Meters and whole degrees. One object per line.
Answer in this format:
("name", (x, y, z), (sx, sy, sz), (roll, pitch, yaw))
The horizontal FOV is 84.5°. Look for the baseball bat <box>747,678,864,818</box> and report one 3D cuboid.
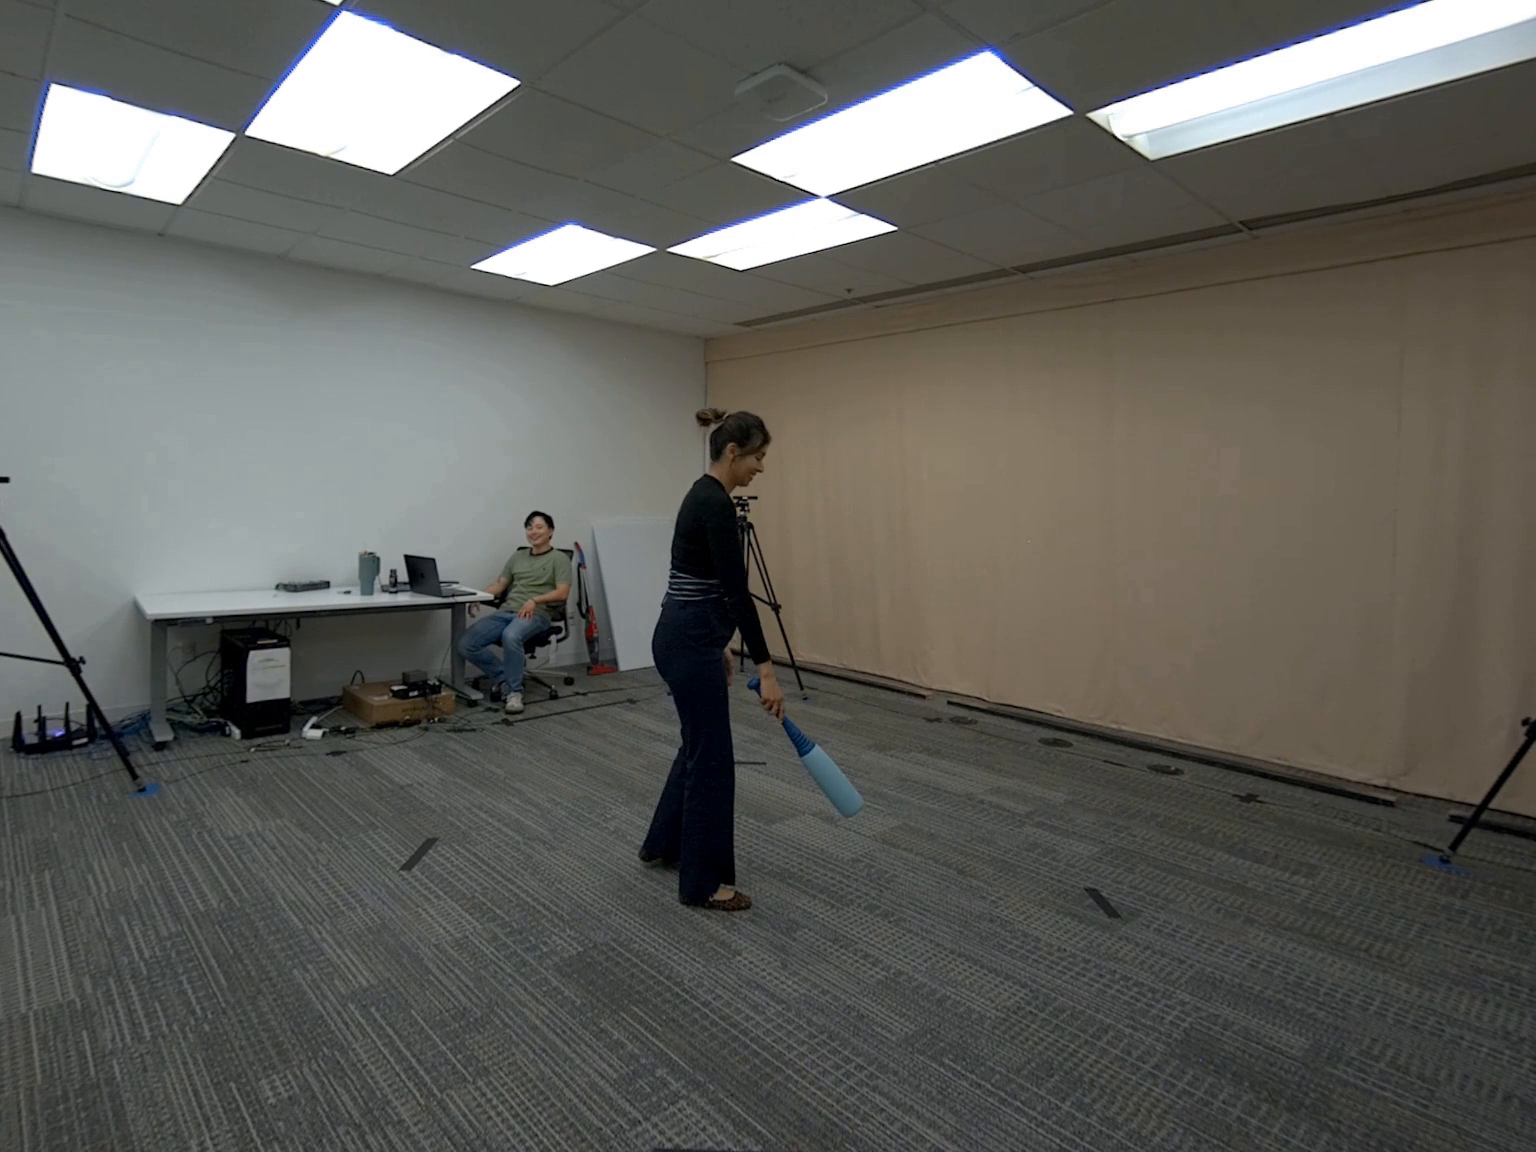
("baseball bat", (0.104, 0.554, 2.735), (0.089, 0.543, 0.089), (-39, 0, 0))
